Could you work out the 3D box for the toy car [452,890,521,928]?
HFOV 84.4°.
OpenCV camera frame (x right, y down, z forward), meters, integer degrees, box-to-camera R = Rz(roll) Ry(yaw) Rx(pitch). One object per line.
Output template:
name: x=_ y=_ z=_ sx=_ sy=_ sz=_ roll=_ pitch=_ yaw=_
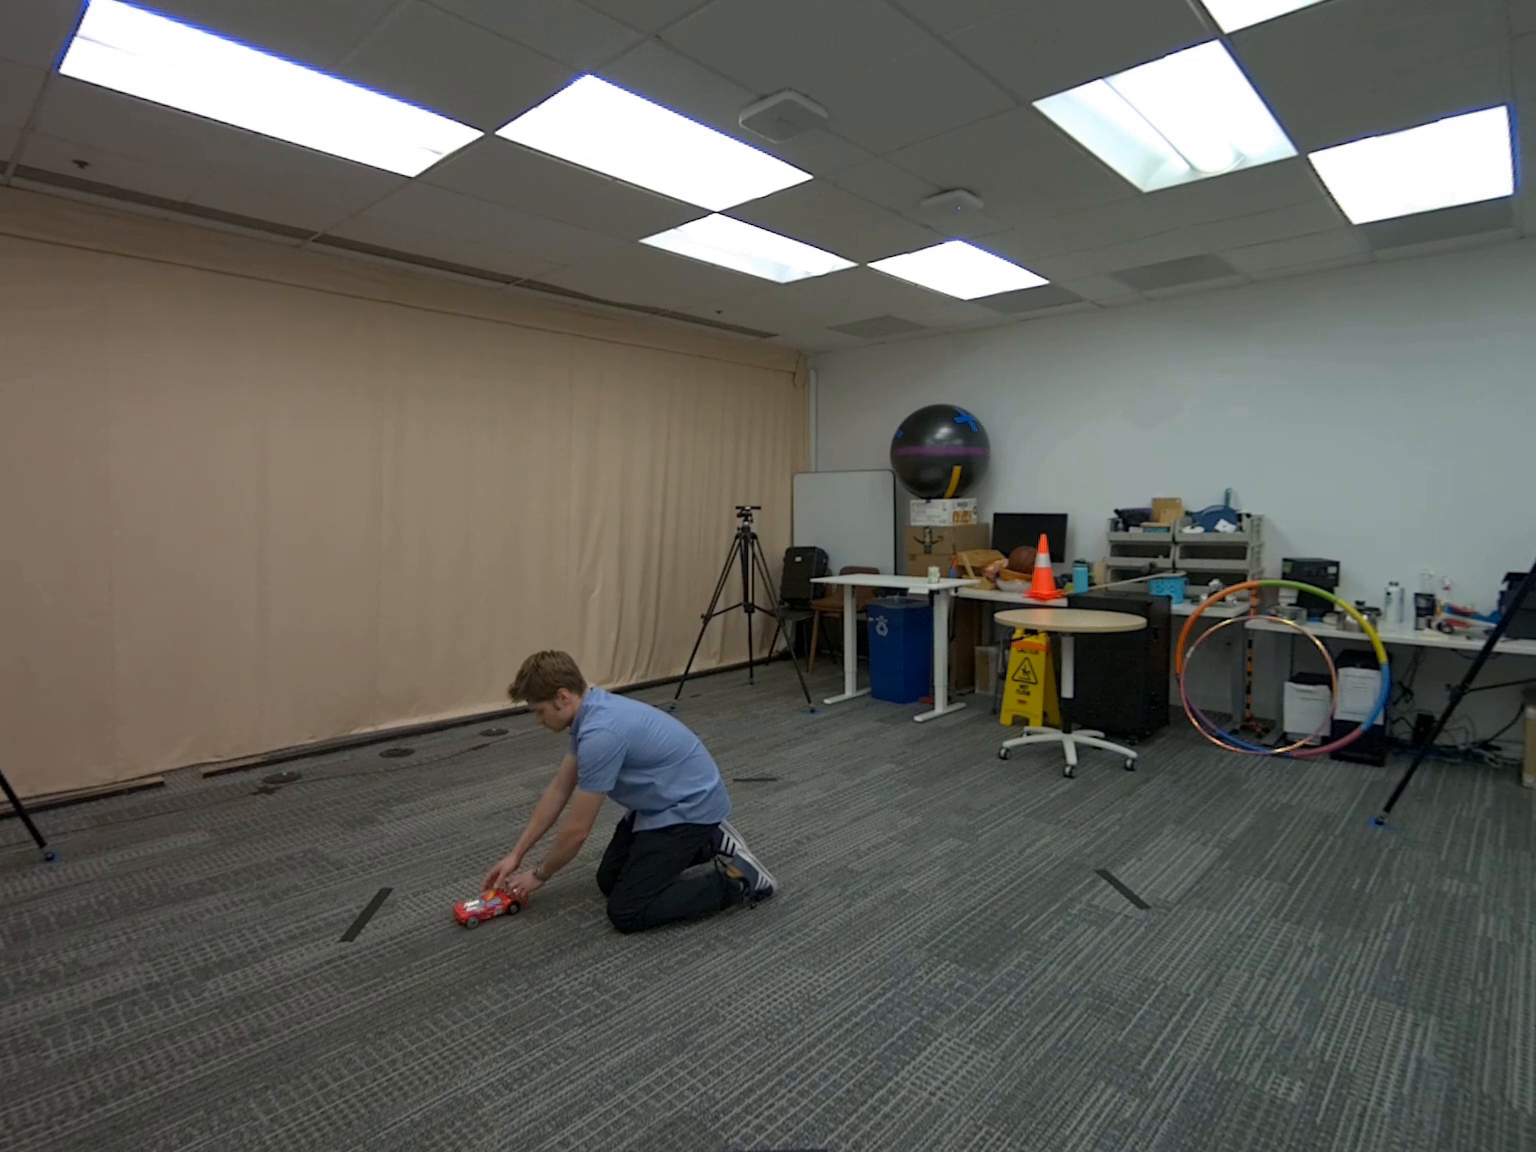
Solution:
toy car: x=-0.945 y=1.135 z=2.892 sx=0.248 sy=0.082 sz=0.134 roll=-16 pitch=14 yaw=-37
